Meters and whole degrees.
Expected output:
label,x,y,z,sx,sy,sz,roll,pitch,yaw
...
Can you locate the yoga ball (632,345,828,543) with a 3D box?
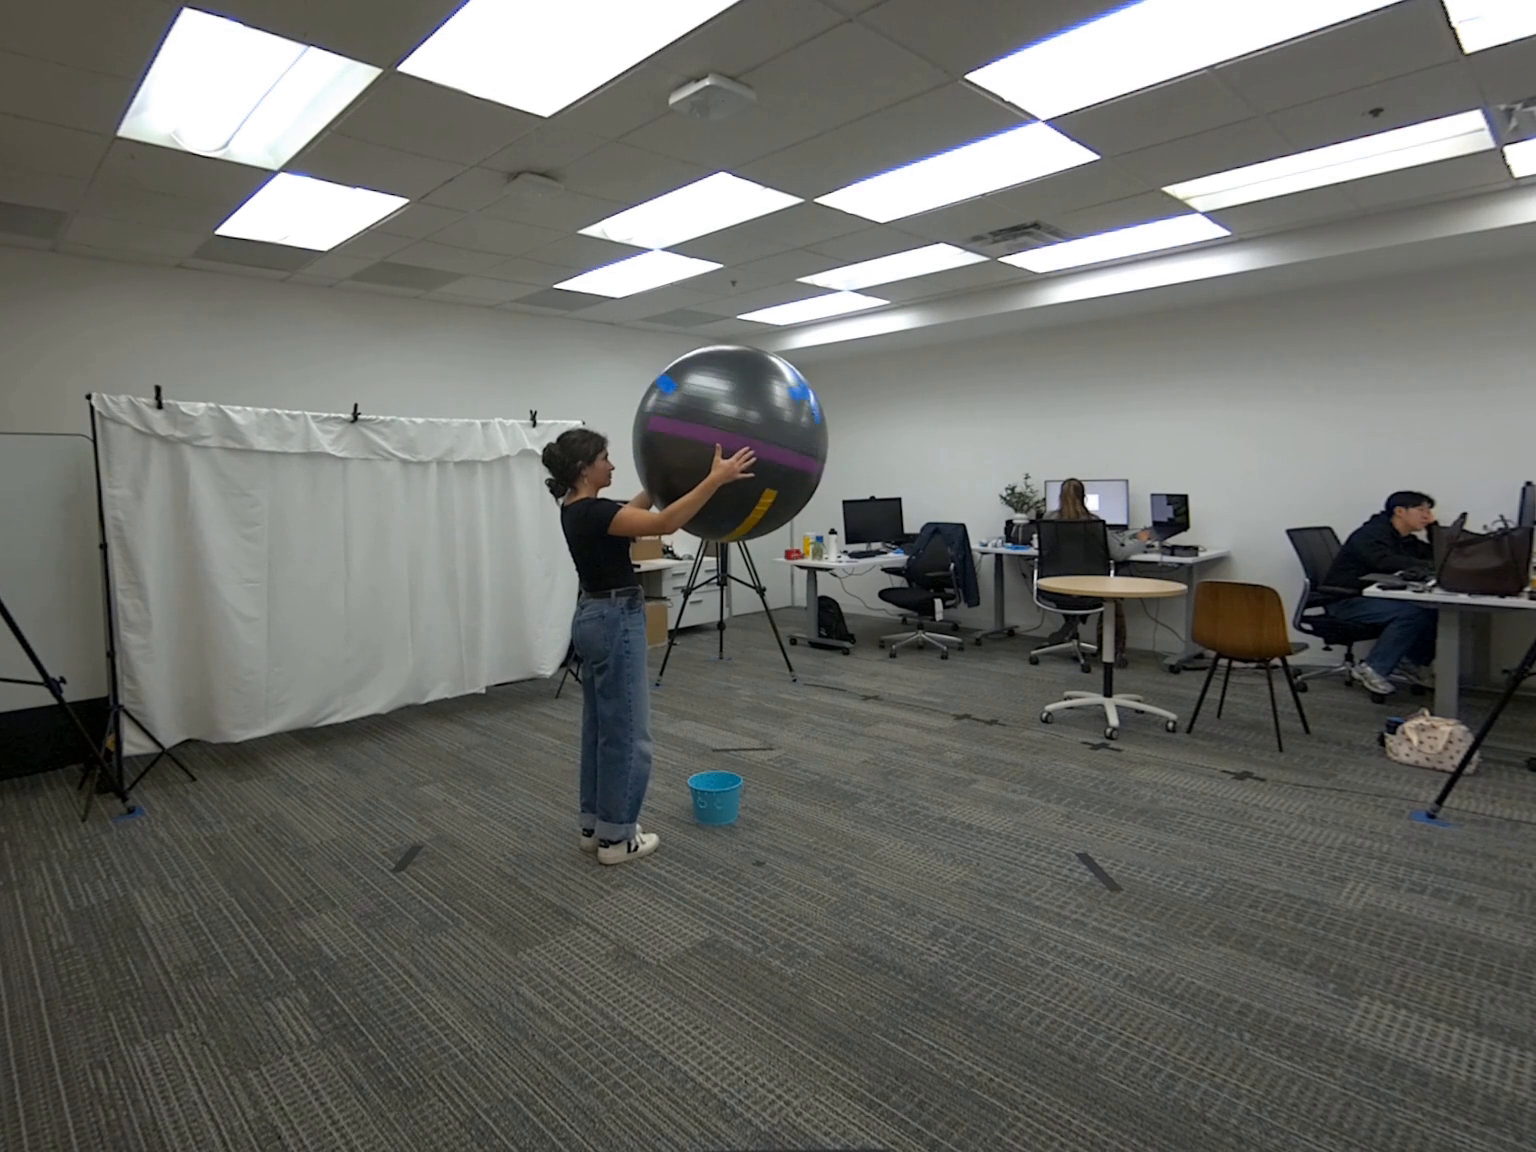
label,x,y,z,sx,sy,sz,roll,pitch,yaw
yoga ball,-0.147,-0.503,3.321,0.757,0.755,0.762,-1,5,-2
